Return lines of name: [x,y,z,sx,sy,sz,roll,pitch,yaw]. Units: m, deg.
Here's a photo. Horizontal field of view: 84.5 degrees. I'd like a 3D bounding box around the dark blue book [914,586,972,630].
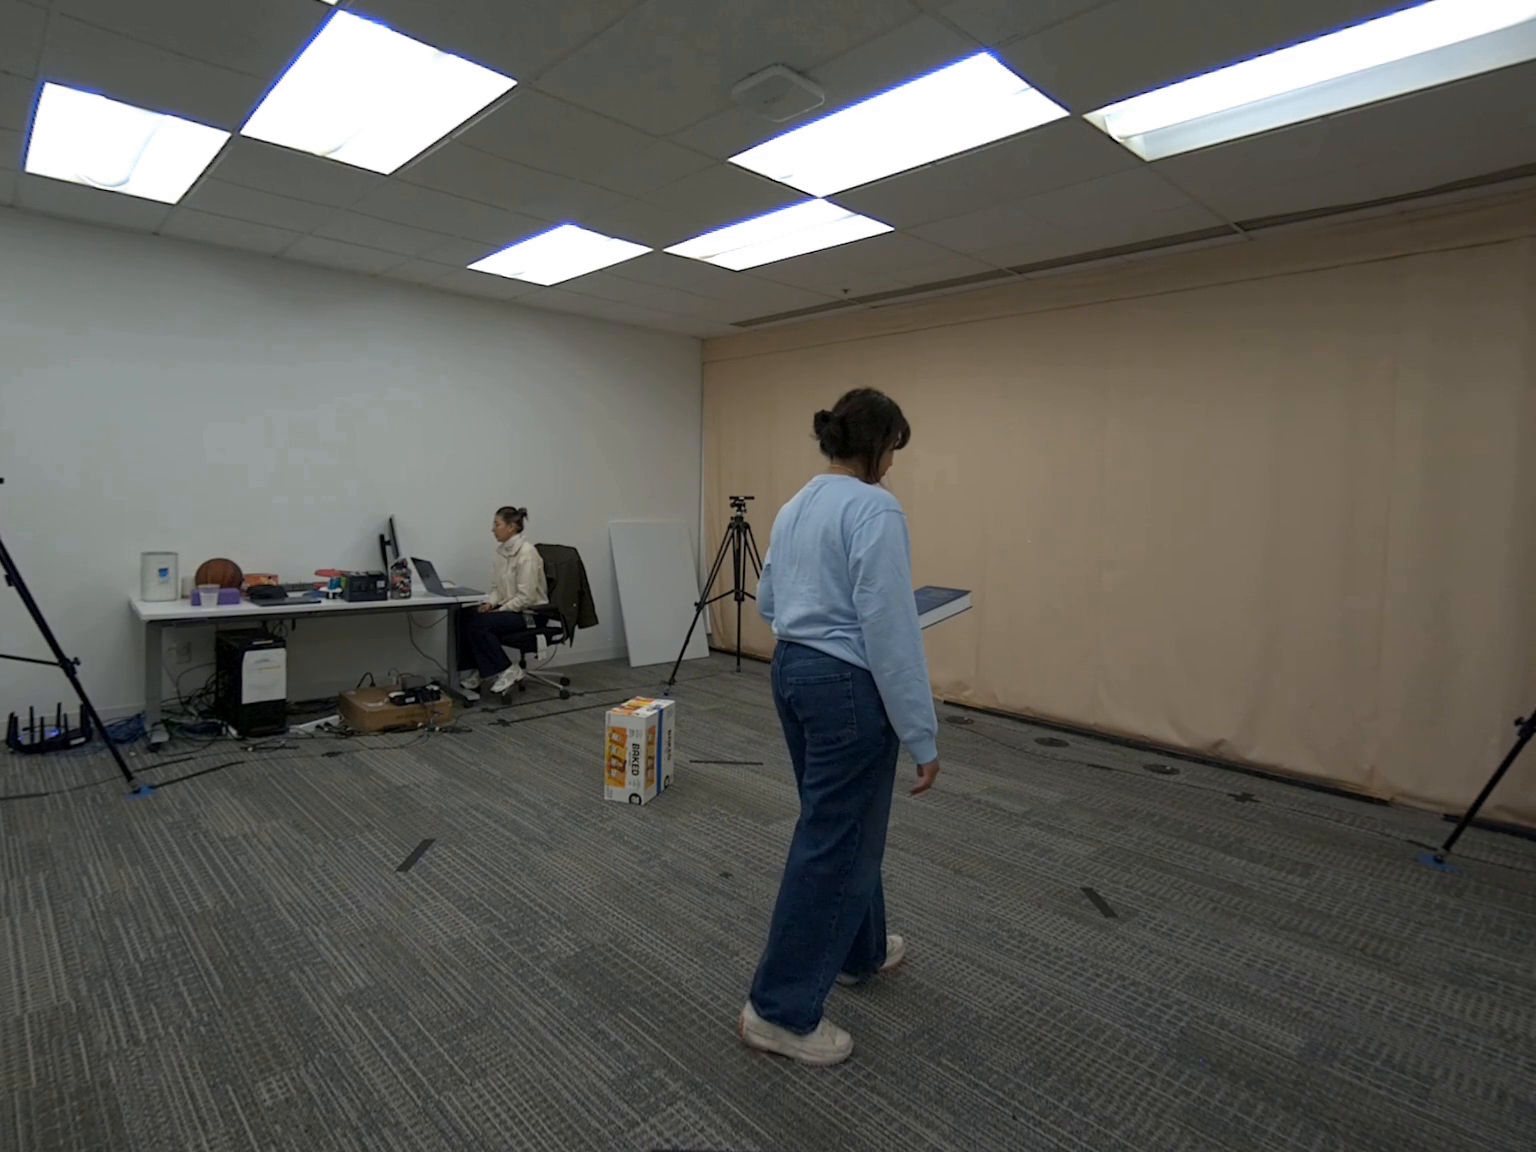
dark blue book: [0.419,0.087,2.397,0.167,0.045,0.241,4,16,42]
